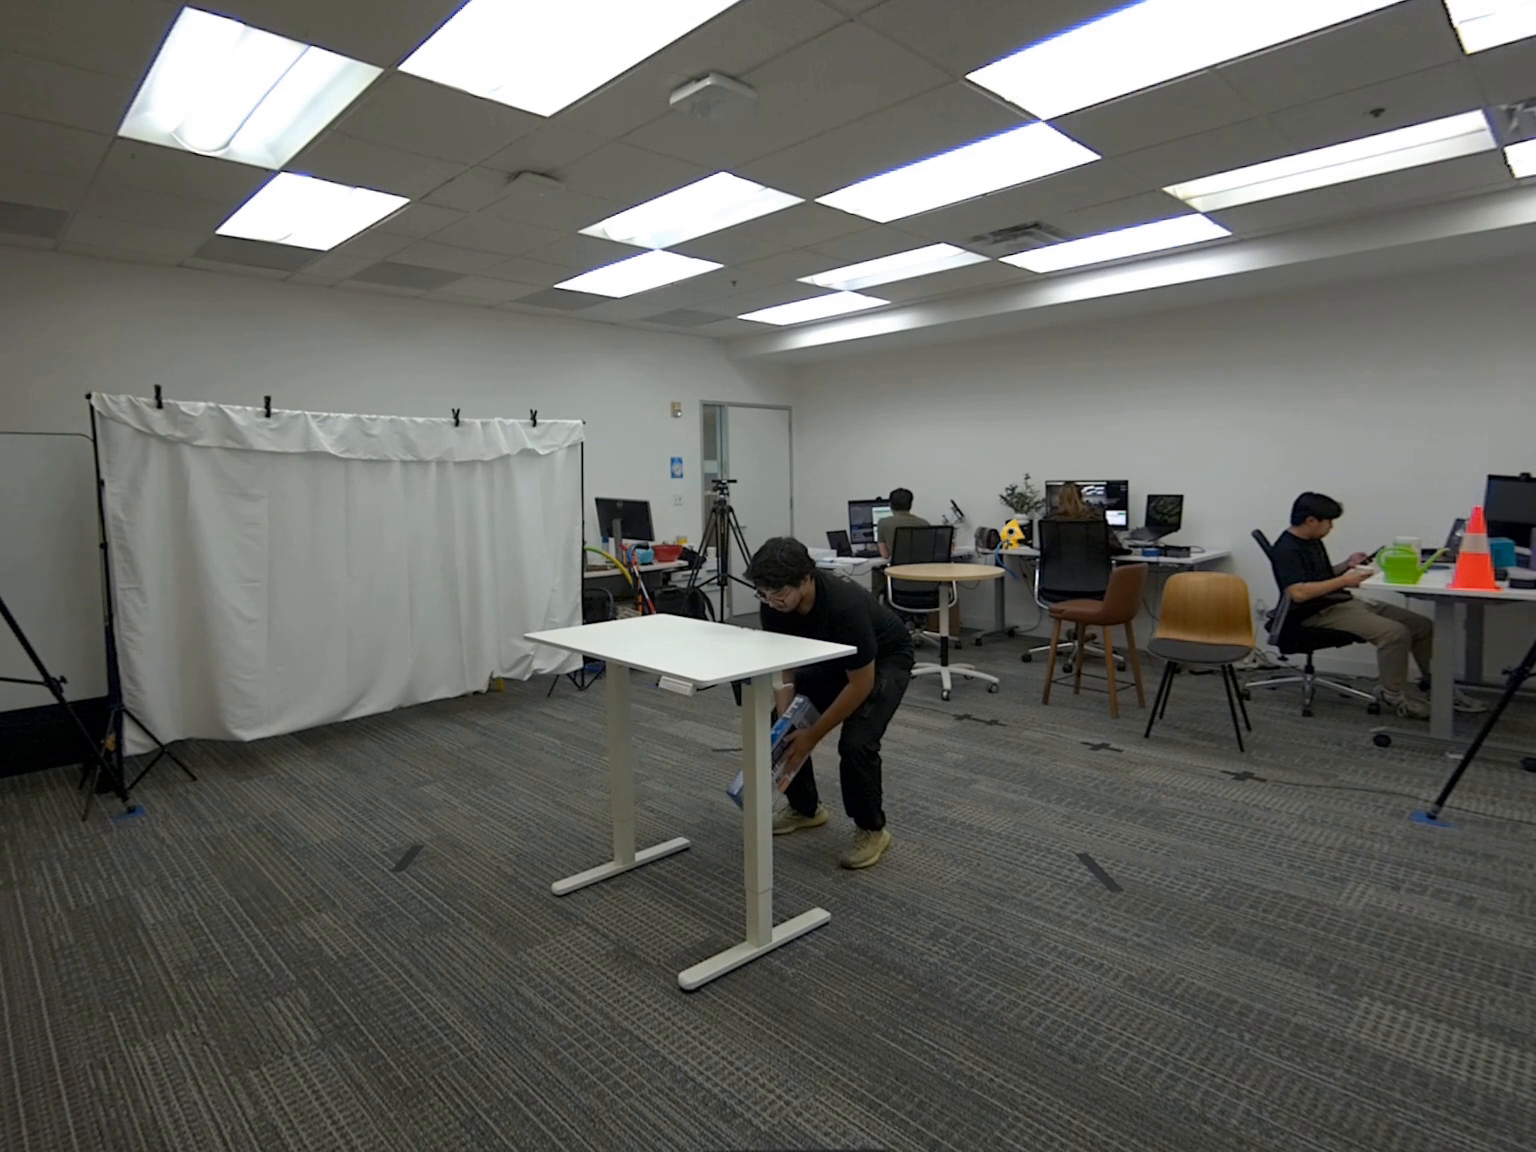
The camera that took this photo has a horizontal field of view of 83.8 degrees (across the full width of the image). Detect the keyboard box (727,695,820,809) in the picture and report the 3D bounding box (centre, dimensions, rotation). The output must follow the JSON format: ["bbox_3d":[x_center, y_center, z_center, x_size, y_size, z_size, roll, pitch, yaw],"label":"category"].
[{"bbox_3d":[0.043,0.650,3.019,0.061,0.170,0.437,5,49,53],"label":"keyboard box"}]
